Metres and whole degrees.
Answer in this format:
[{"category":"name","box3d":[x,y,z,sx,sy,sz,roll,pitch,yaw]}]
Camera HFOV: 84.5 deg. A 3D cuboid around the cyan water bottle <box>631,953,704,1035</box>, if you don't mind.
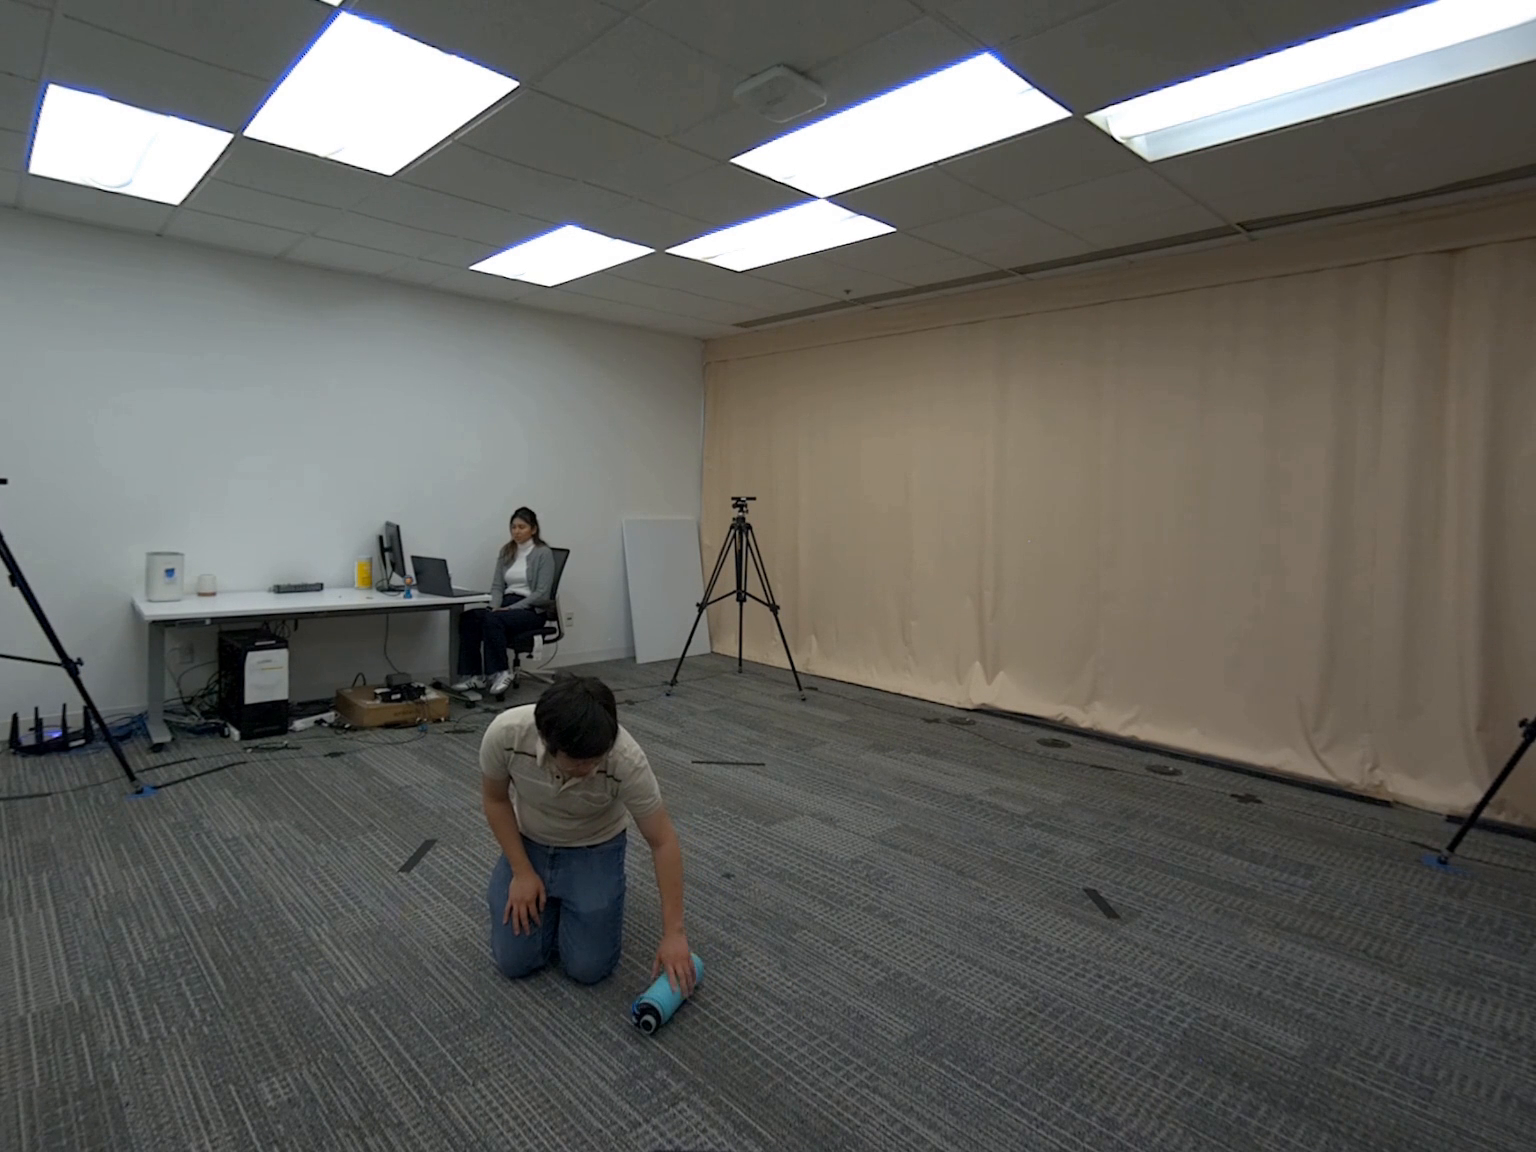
[{"category":"cyan water bottle","box3d":[-0.287,1.134,2.282,0.093,0.092,0.281,3,8,16]}]
